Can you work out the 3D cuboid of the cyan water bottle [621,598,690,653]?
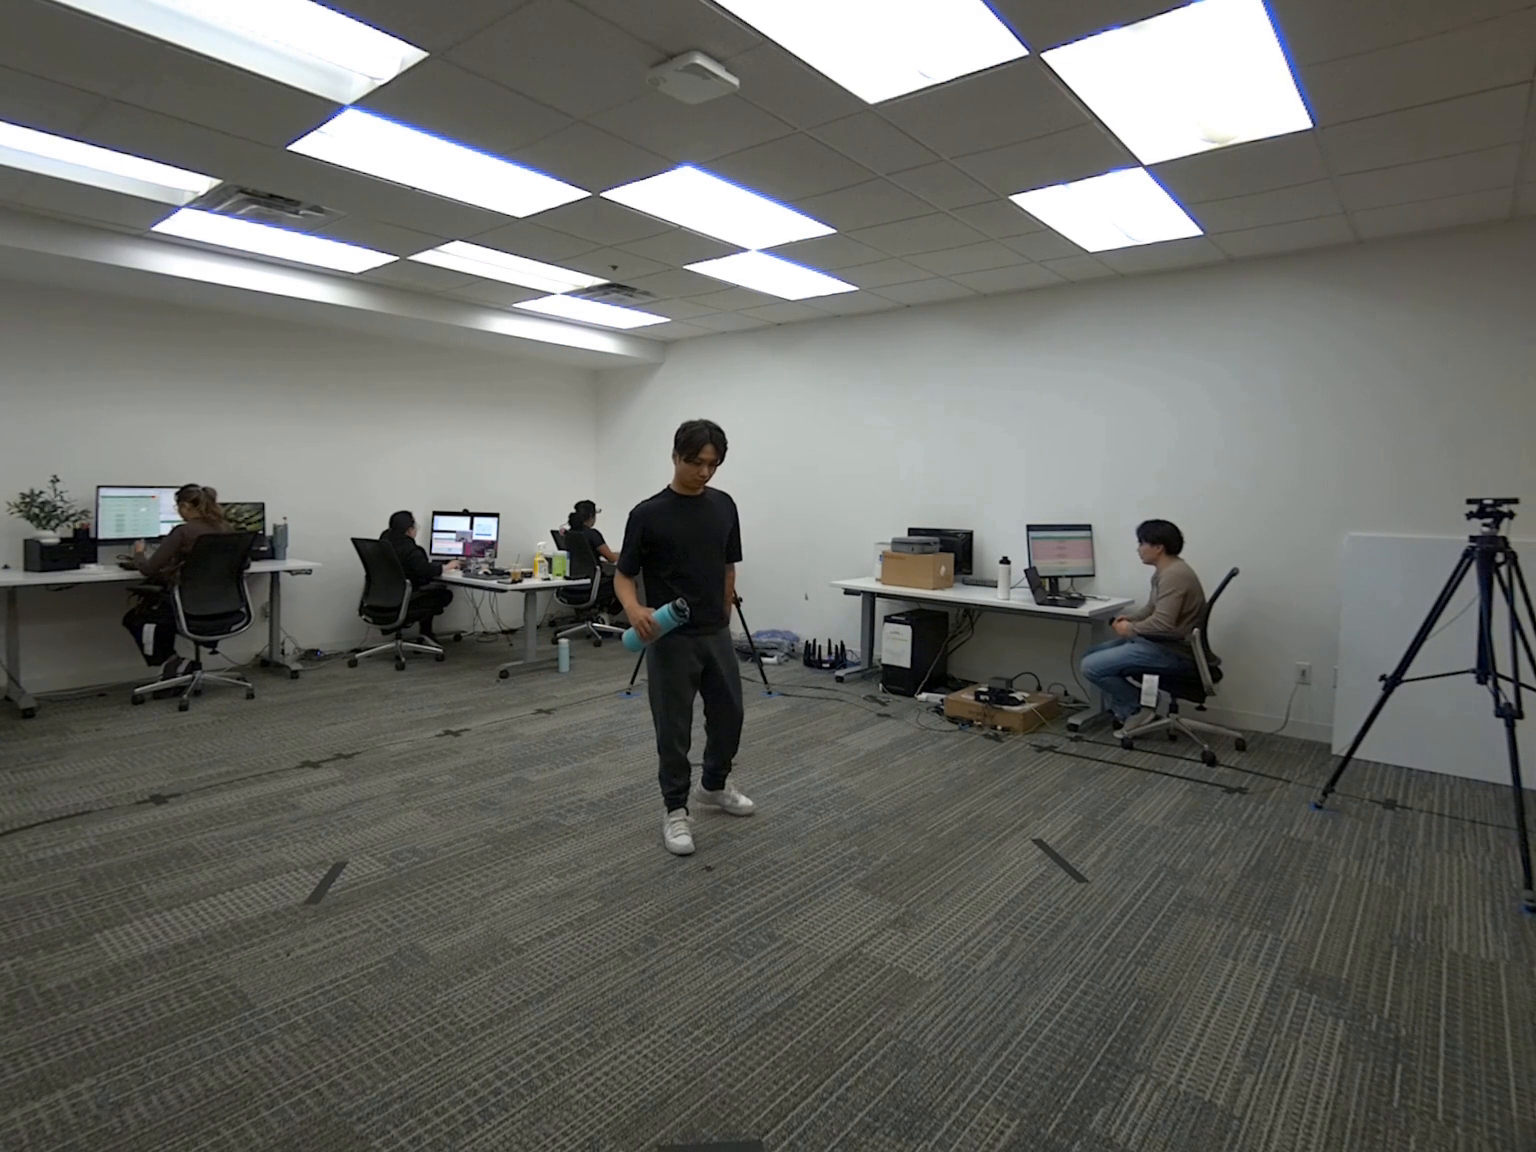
[{"bbox_3d":[-0.415,0.178,3.130,0.285,0.094,0.090,-35,-12,24],"label":"cyan water bottle"}]
